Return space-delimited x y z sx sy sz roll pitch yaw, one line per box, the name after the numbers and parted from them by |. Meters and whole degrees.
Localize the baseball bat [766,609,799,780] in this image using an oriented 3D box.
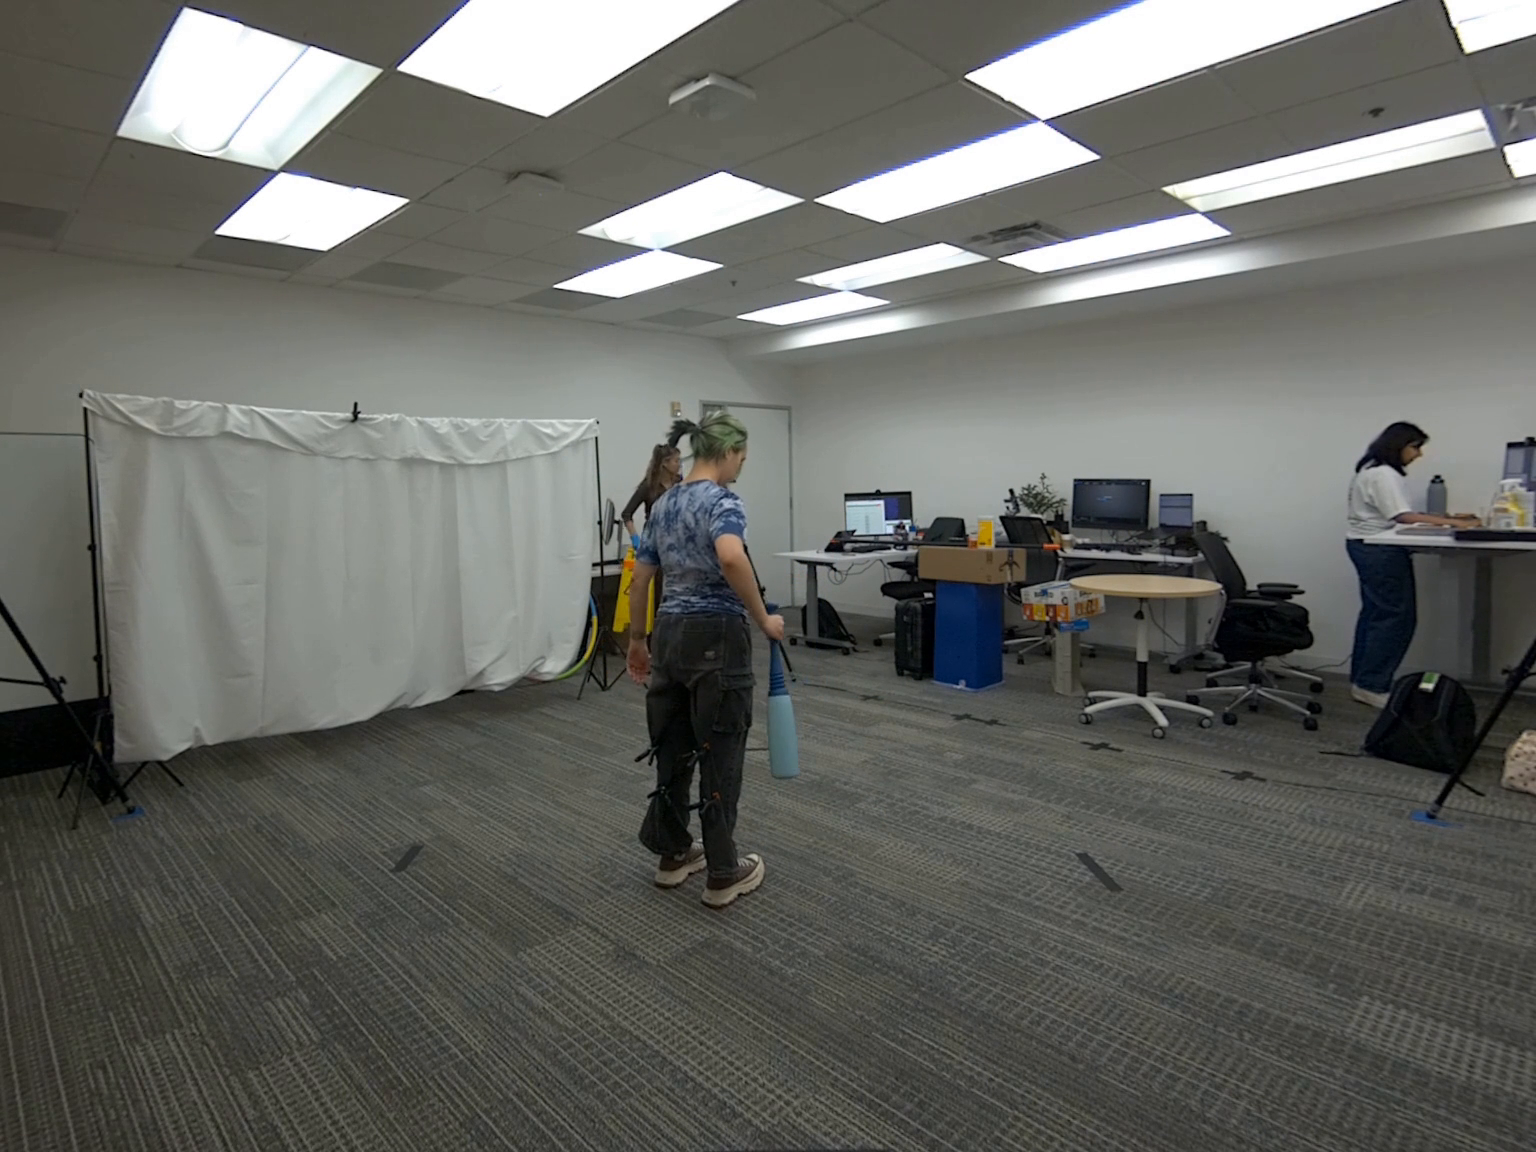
0.021 0.349 2.667 0.089 0.550 0.088 -4 -13 -2 | baseball bat
